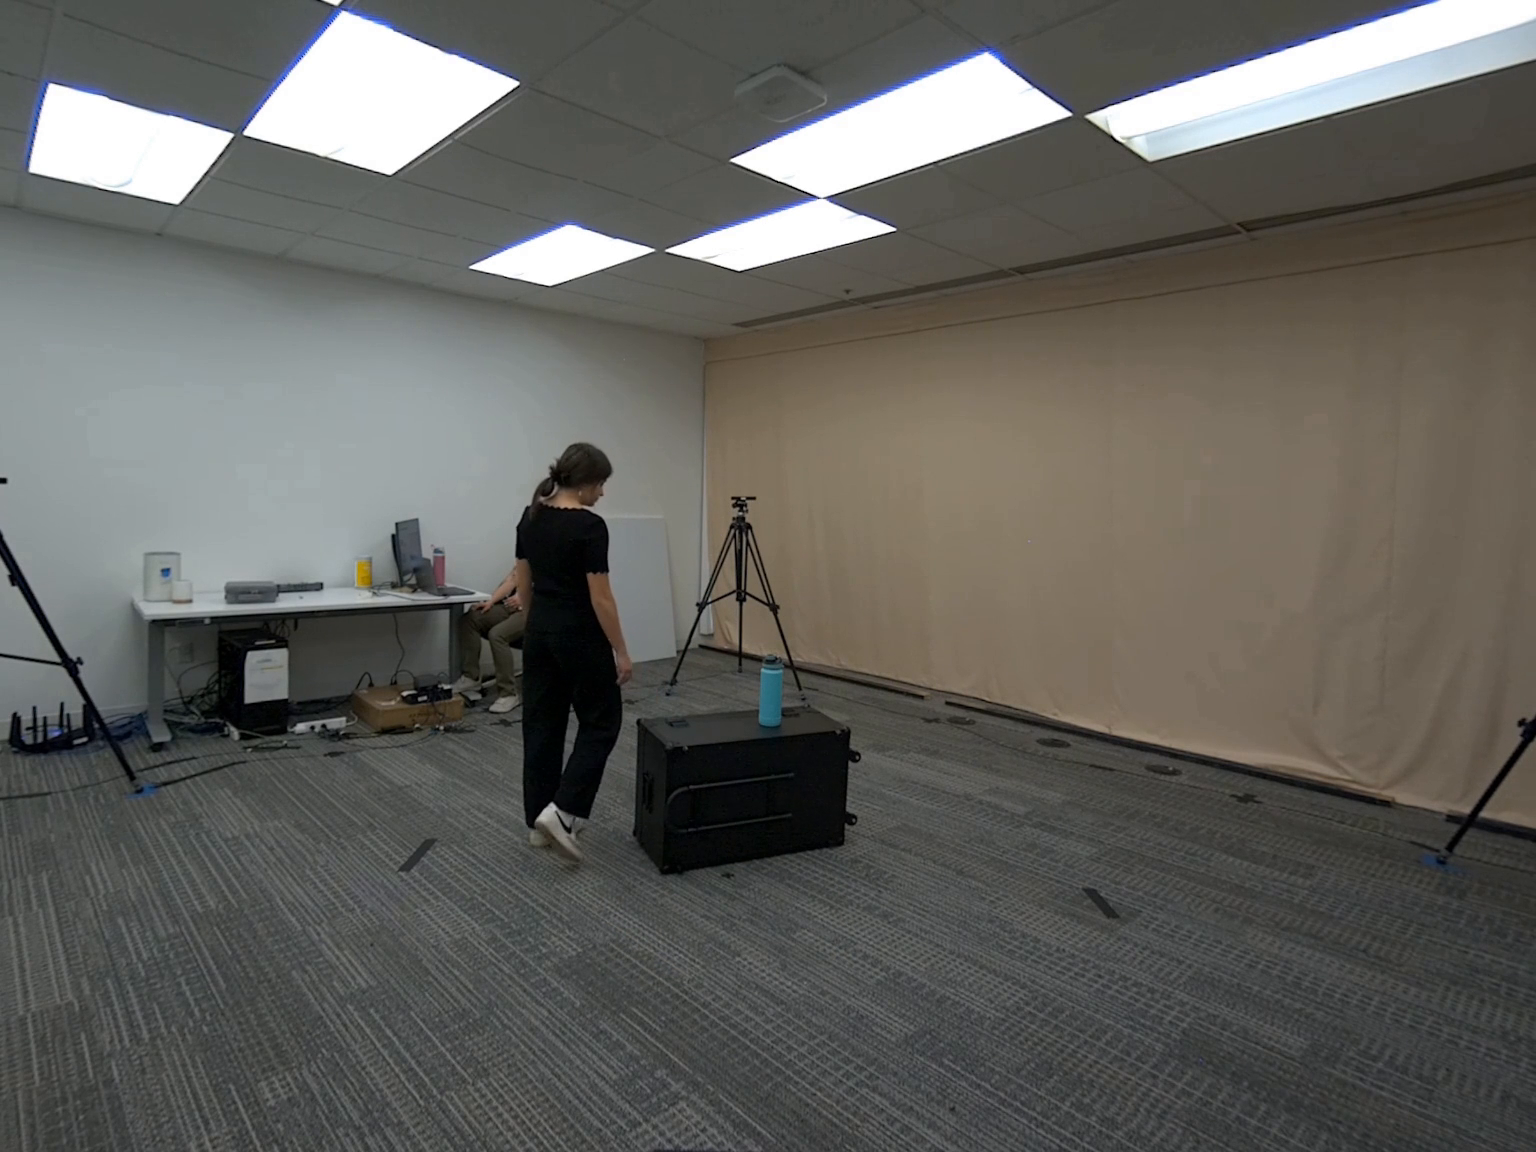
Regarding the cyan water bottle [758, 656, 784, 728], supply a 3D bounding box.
[{"bbox_3d":[0.000,0.456,3.393,0.092,0.282,0.093,1,5,-2],"label":"cyan water bottle"}]
